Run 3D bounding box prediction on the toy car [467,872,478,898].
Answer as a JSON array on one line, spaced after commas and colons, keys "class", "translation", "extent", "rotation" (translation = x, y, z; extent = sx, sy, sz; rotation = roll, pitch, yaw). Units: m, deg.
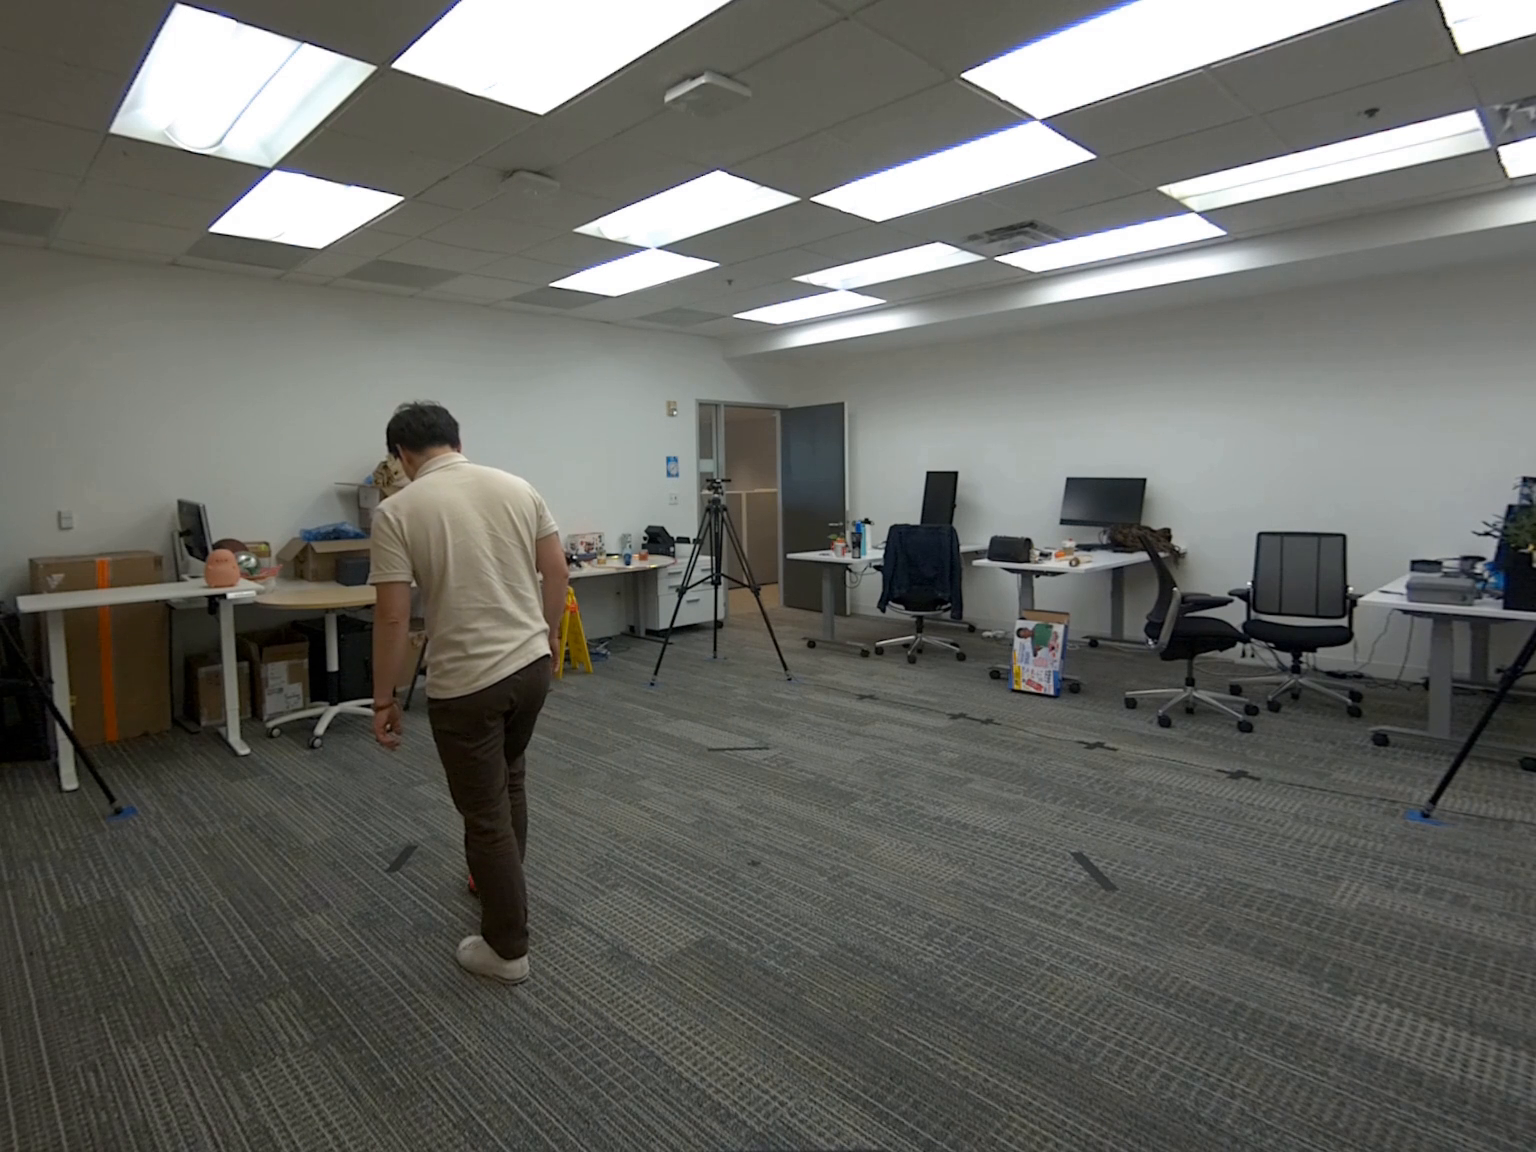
[{"class": "toy car", "translation": [-0.981, 1.044, 3.000], "extent": [0.129, 0.084, 0.255], "rotation": [-2, -6, -13]}]
